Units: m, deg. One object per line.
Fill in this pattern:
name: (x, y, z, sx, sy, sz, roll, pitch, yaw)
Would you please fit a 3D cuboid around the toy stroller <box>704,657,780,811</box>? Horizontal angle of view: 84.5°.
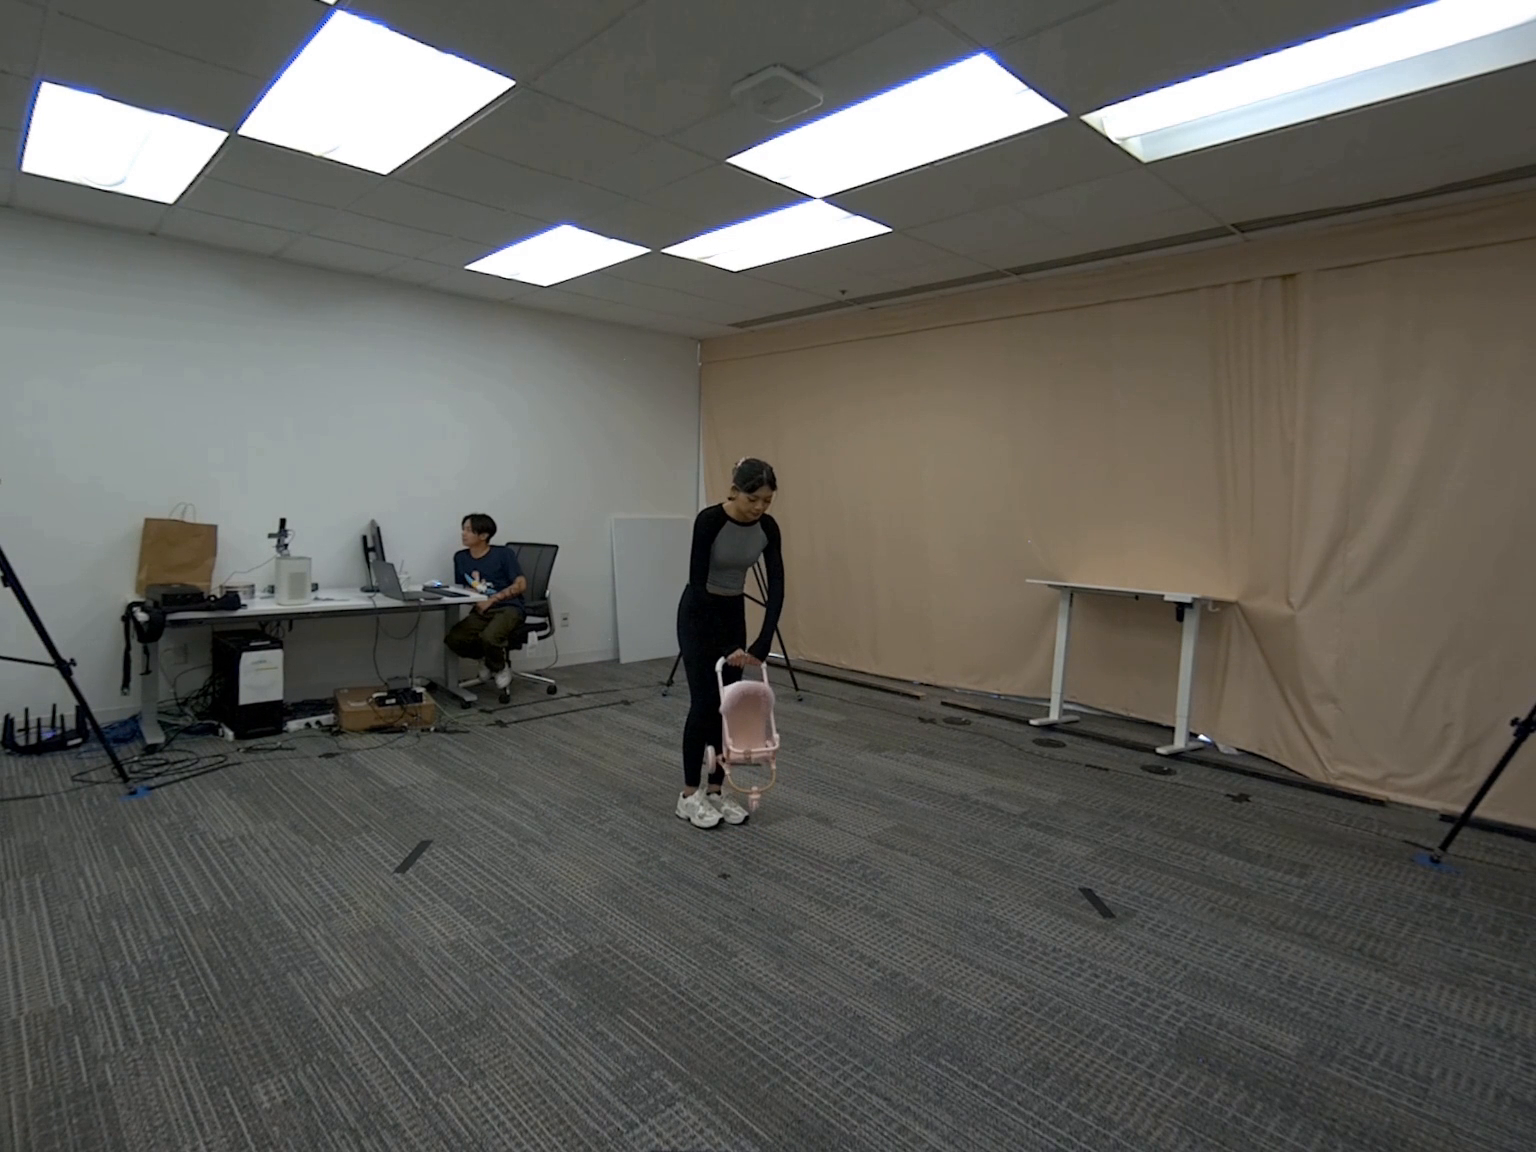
toy stroller: (-0.091, 0.620, 3.314, 0.279, 0.530, 0.347, 0, 12, -11)
